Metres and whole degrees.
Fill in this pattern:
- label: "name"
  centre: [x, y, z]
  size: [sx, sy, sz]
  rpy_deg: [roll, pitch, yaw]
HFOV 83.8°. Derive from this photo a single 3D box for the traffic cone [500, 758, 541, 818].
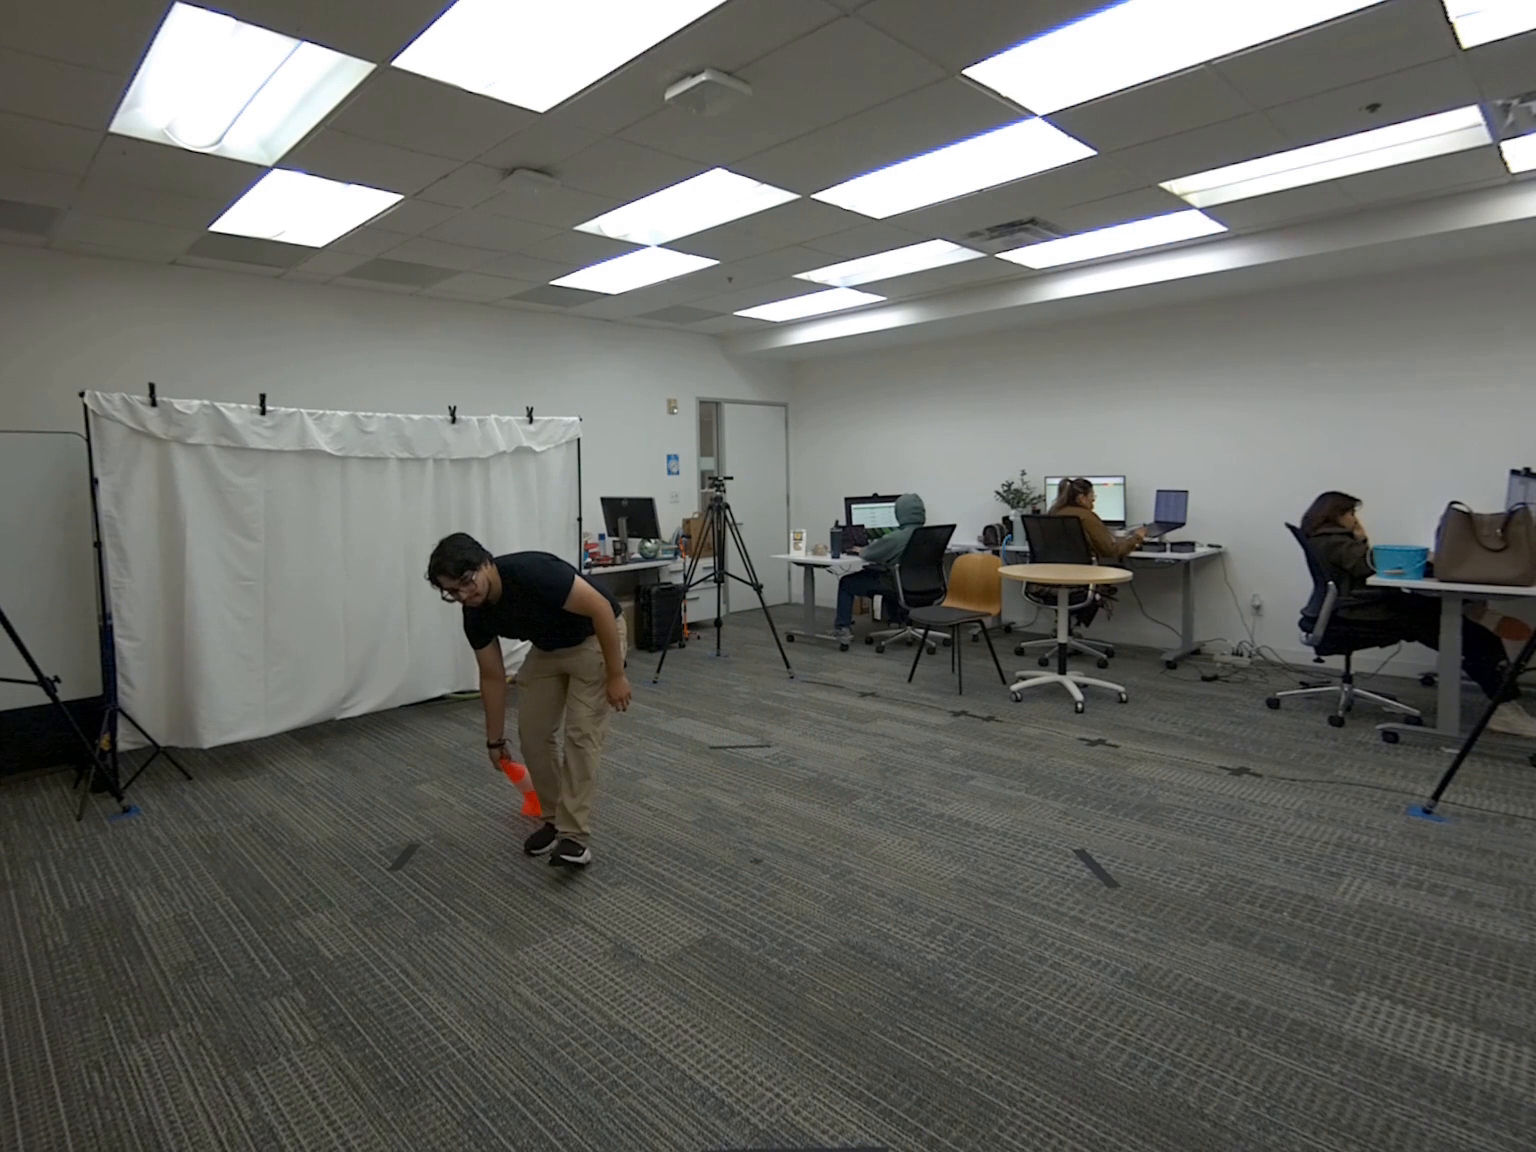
- label: "traffic cone"
  centre: [-0.988, 0.824, 3.478]
  size: [0.206, 0.209, 0.370]
  rpy_deg: [-4, -34, 17]
